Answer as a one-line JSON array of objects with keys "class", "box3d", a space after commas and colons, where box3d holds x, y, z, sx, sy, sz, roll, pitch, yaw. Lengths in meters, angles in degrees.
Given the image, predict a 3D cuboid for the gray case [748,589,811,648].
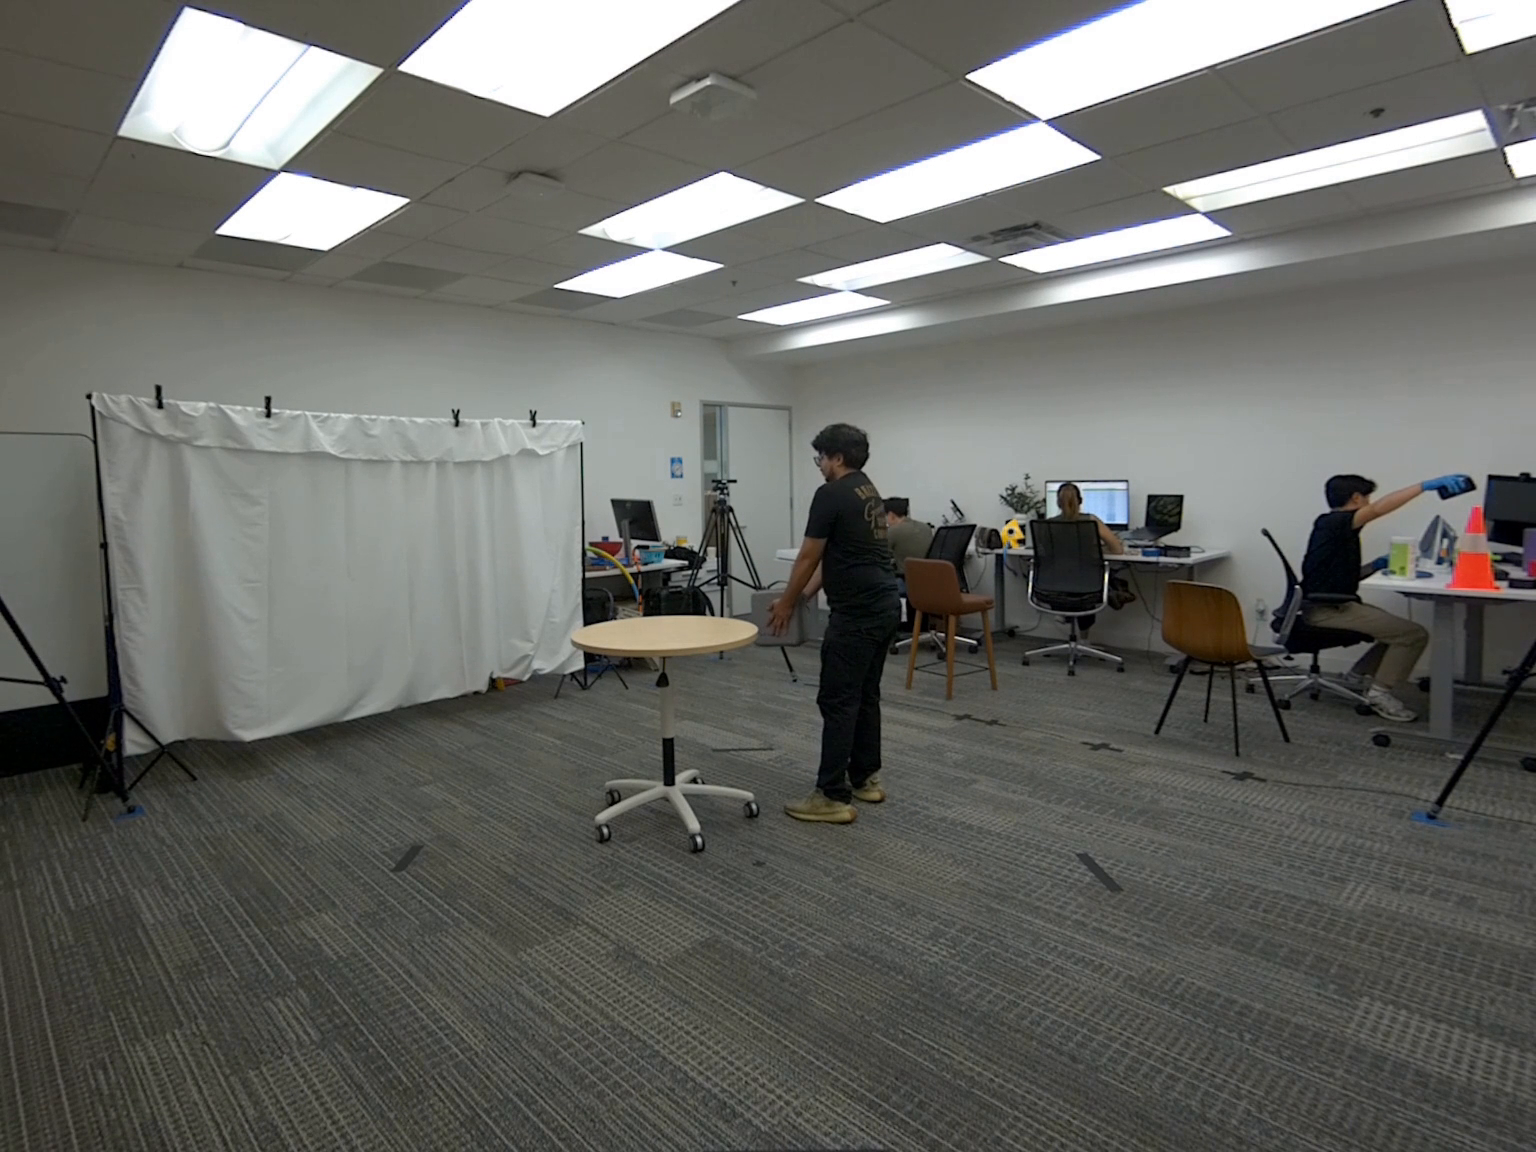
[{"class": "gray case", "box3d": [0.048, 0.184, 3.868, 0.262, 0.261, 0.102, -3, -4, 26]}]
